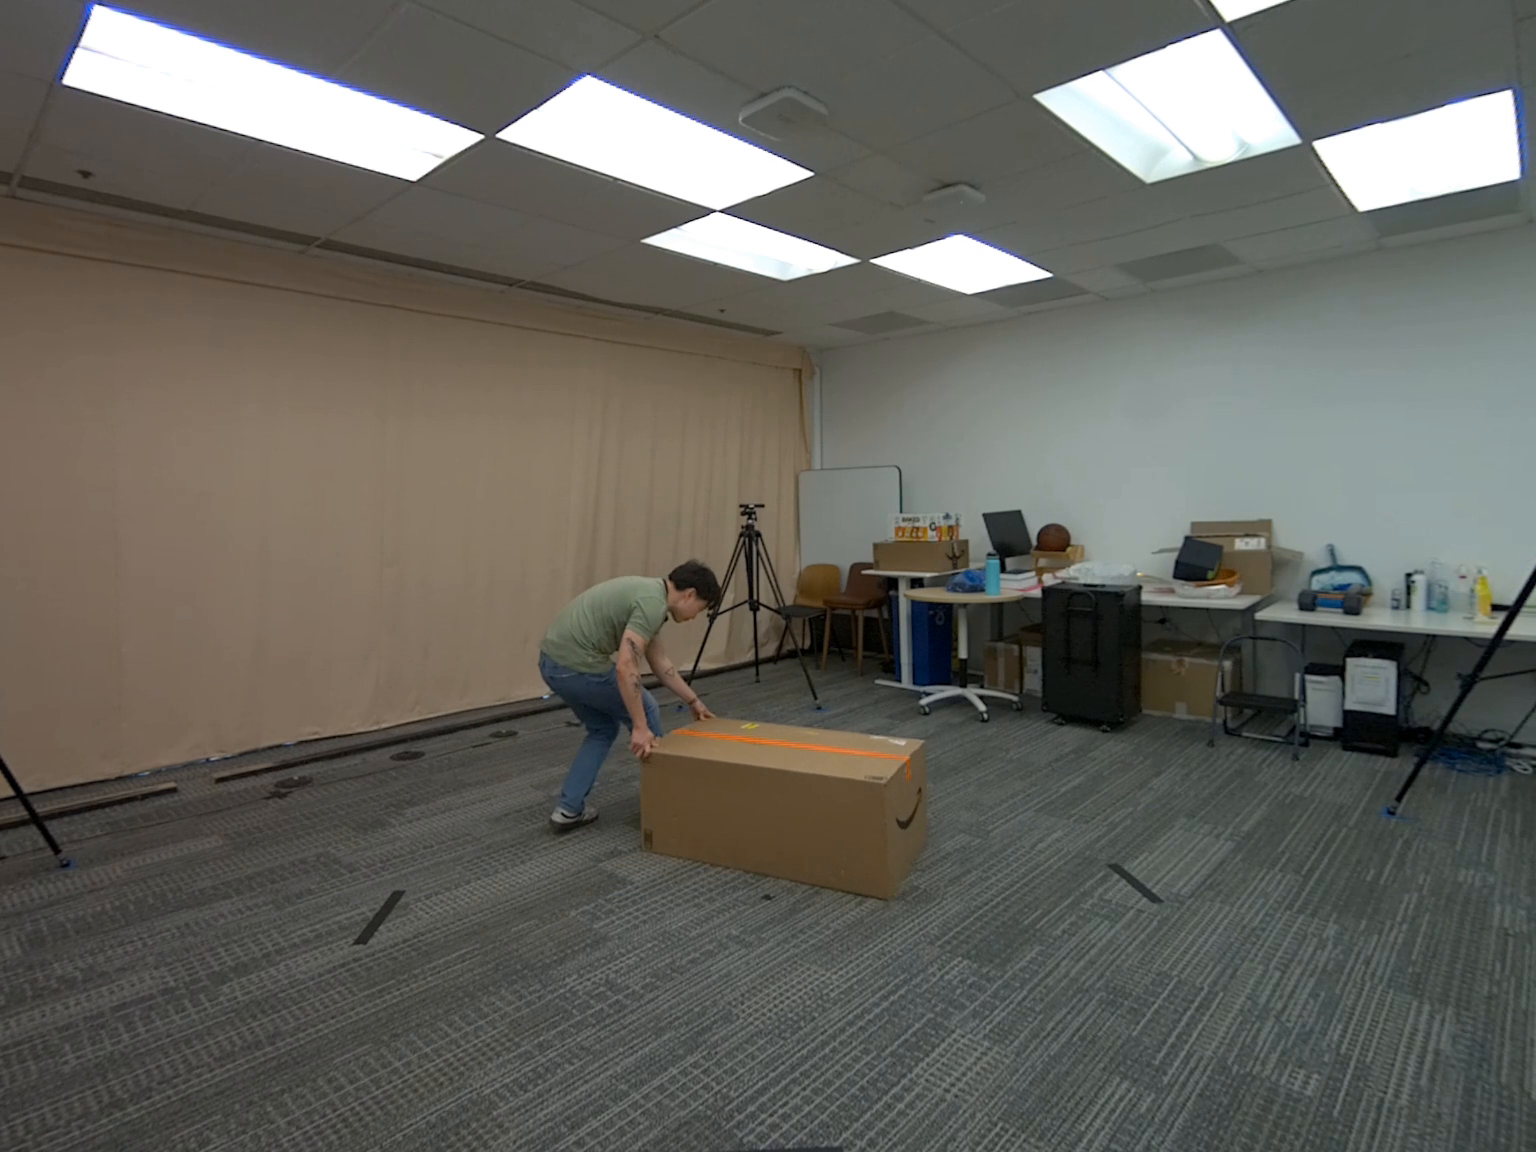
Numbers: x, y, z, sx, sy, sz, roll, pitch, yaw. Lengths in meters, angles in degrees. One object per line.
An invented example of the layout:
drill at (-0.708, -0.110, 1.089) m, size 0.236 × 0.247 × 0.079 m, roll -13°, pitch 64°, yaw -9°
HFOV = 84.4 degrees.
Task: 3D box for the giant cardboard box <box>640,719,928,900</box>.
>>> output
giant cardboard box at (0.072, 0.889, 3.408) m, size 1.053 × 0.425 × 0.563 m, roll 1°, pitch 4°, yaw 27°
